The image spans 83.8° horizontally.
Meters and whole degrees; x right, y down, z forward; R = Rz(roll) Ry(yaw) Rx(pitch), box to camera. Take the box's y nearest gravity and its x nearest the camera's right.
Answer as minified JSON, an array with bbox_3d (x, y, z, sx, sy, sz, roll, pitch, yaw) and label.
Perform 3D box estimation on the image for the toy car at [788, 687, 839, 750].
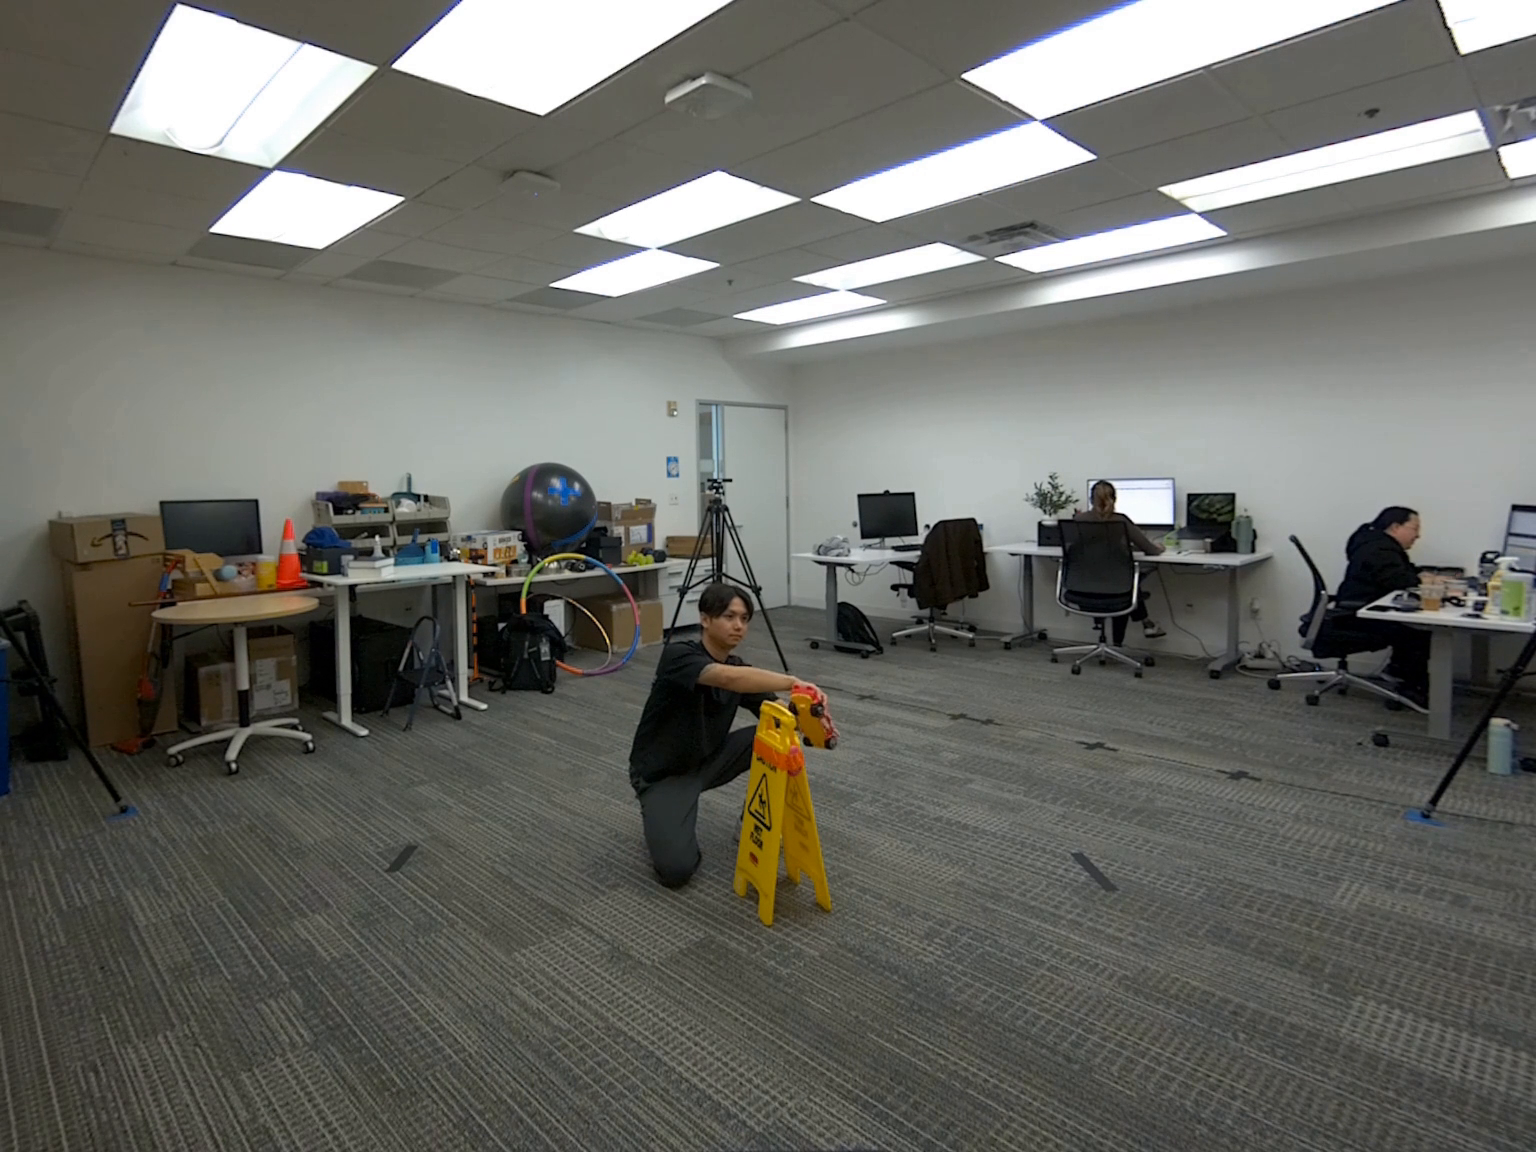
[{"bbox_3d":[0.135,0.480,2.875,0.134,0.250,0.082,-2,19,41],"label":"toy car"}]
